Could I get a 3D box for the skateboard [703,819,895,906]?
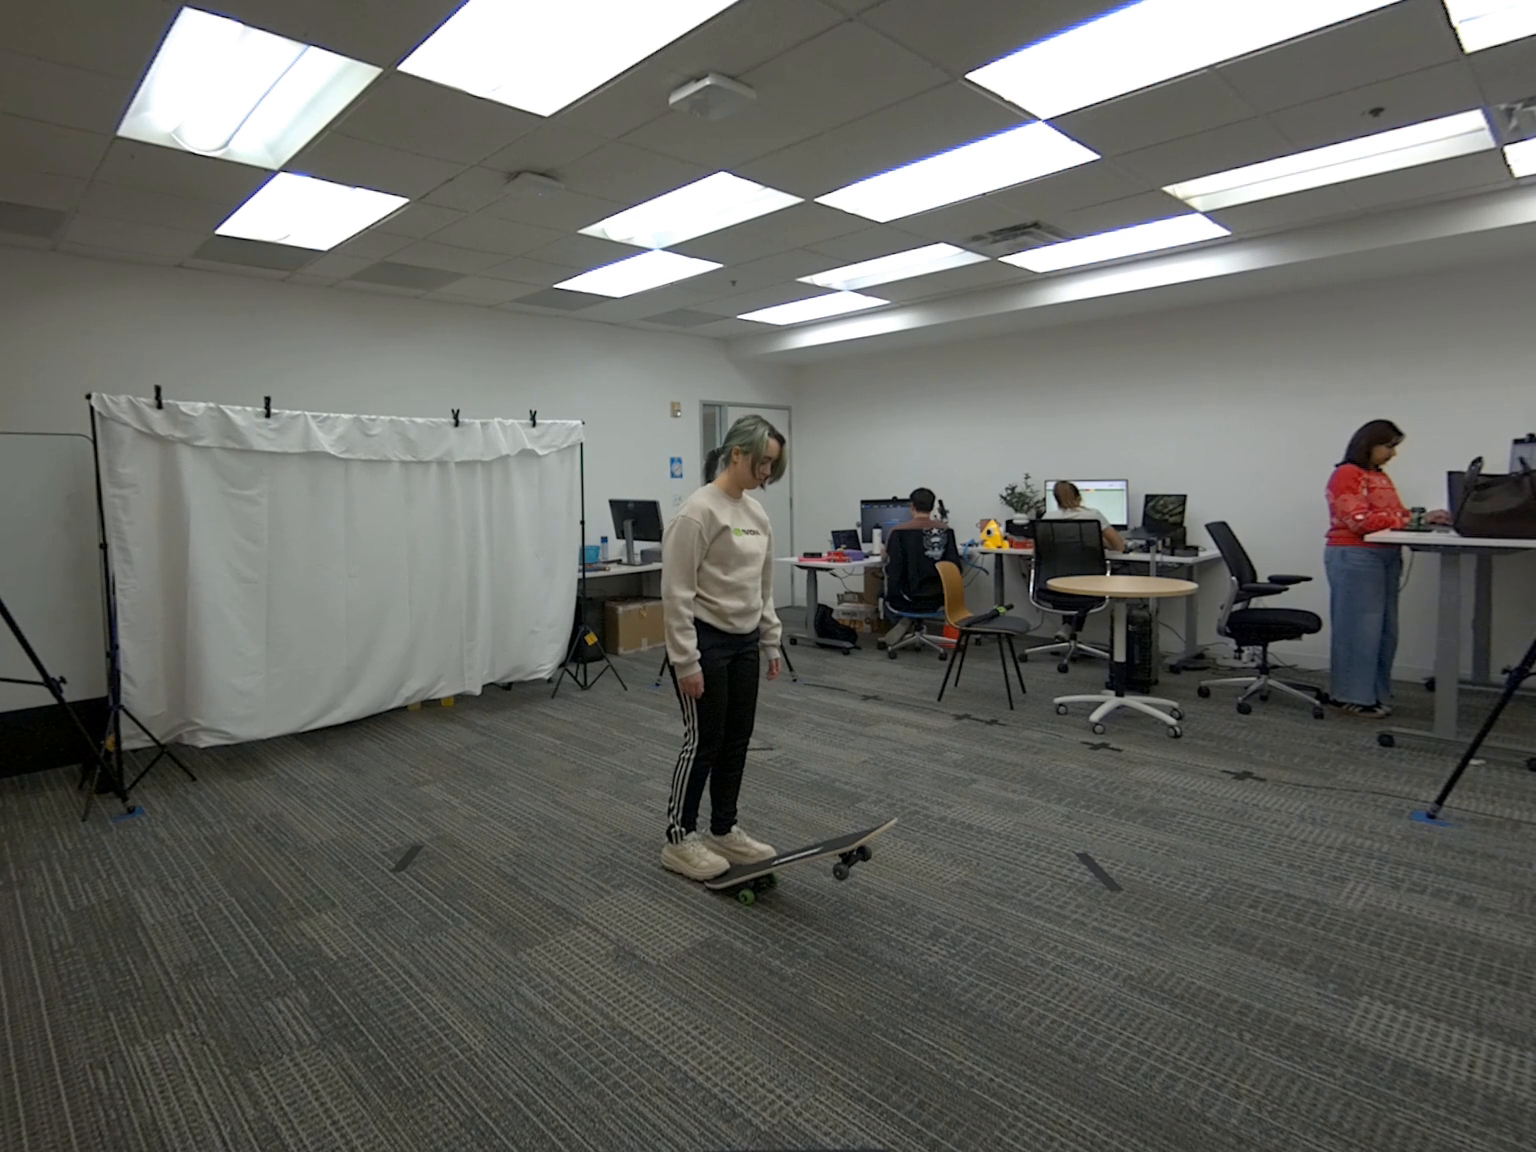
[{"bbox_3d":[0.117,0.945,2.763,0.793,0.112,0.189,-30,-12,32],"label":"skateboard"}]
